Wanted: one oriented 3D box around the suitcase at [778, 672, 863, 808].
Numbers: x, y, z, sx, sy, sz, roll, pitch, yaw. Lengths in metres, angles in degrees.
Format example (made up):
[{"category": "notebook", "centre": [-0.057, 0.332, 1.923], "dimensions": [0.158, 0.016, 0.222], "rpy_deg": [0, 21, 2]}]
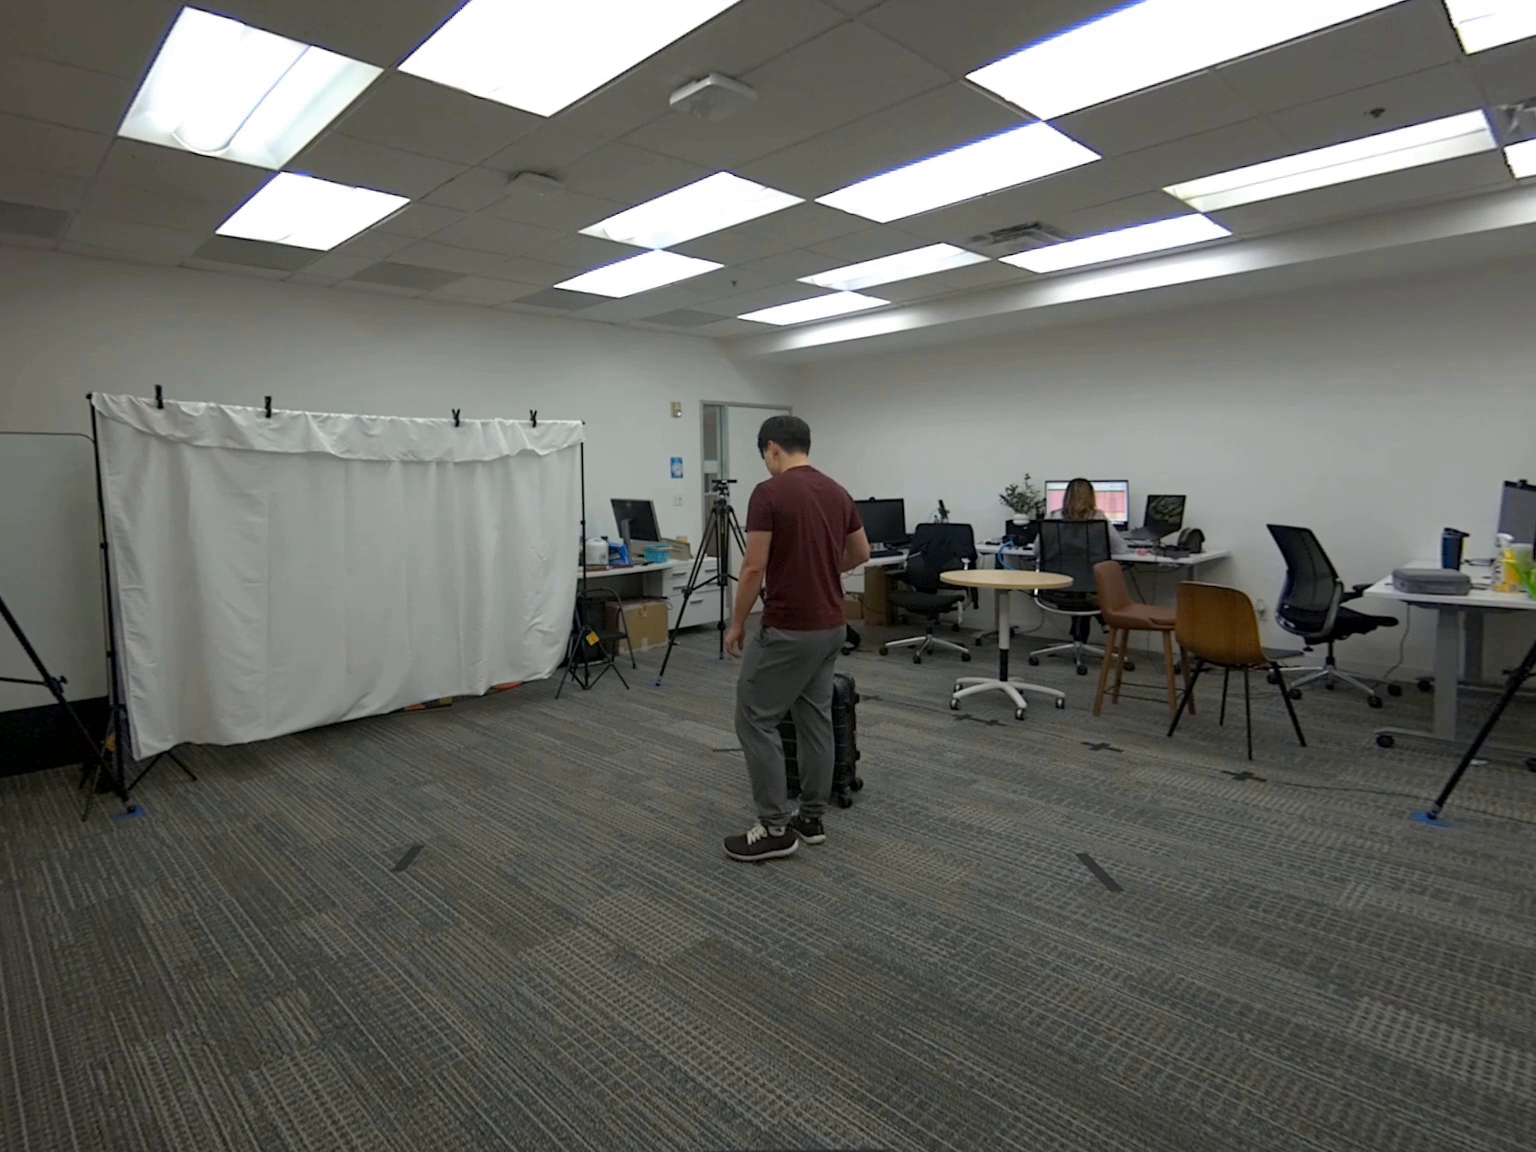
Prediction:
[{"category": "suitcase", "centre": [0.205, 0.493, 3.786], "dimensions": [0.392, 0.978, 0.252], "rpy_deg": [-1, 0, 21]}]
